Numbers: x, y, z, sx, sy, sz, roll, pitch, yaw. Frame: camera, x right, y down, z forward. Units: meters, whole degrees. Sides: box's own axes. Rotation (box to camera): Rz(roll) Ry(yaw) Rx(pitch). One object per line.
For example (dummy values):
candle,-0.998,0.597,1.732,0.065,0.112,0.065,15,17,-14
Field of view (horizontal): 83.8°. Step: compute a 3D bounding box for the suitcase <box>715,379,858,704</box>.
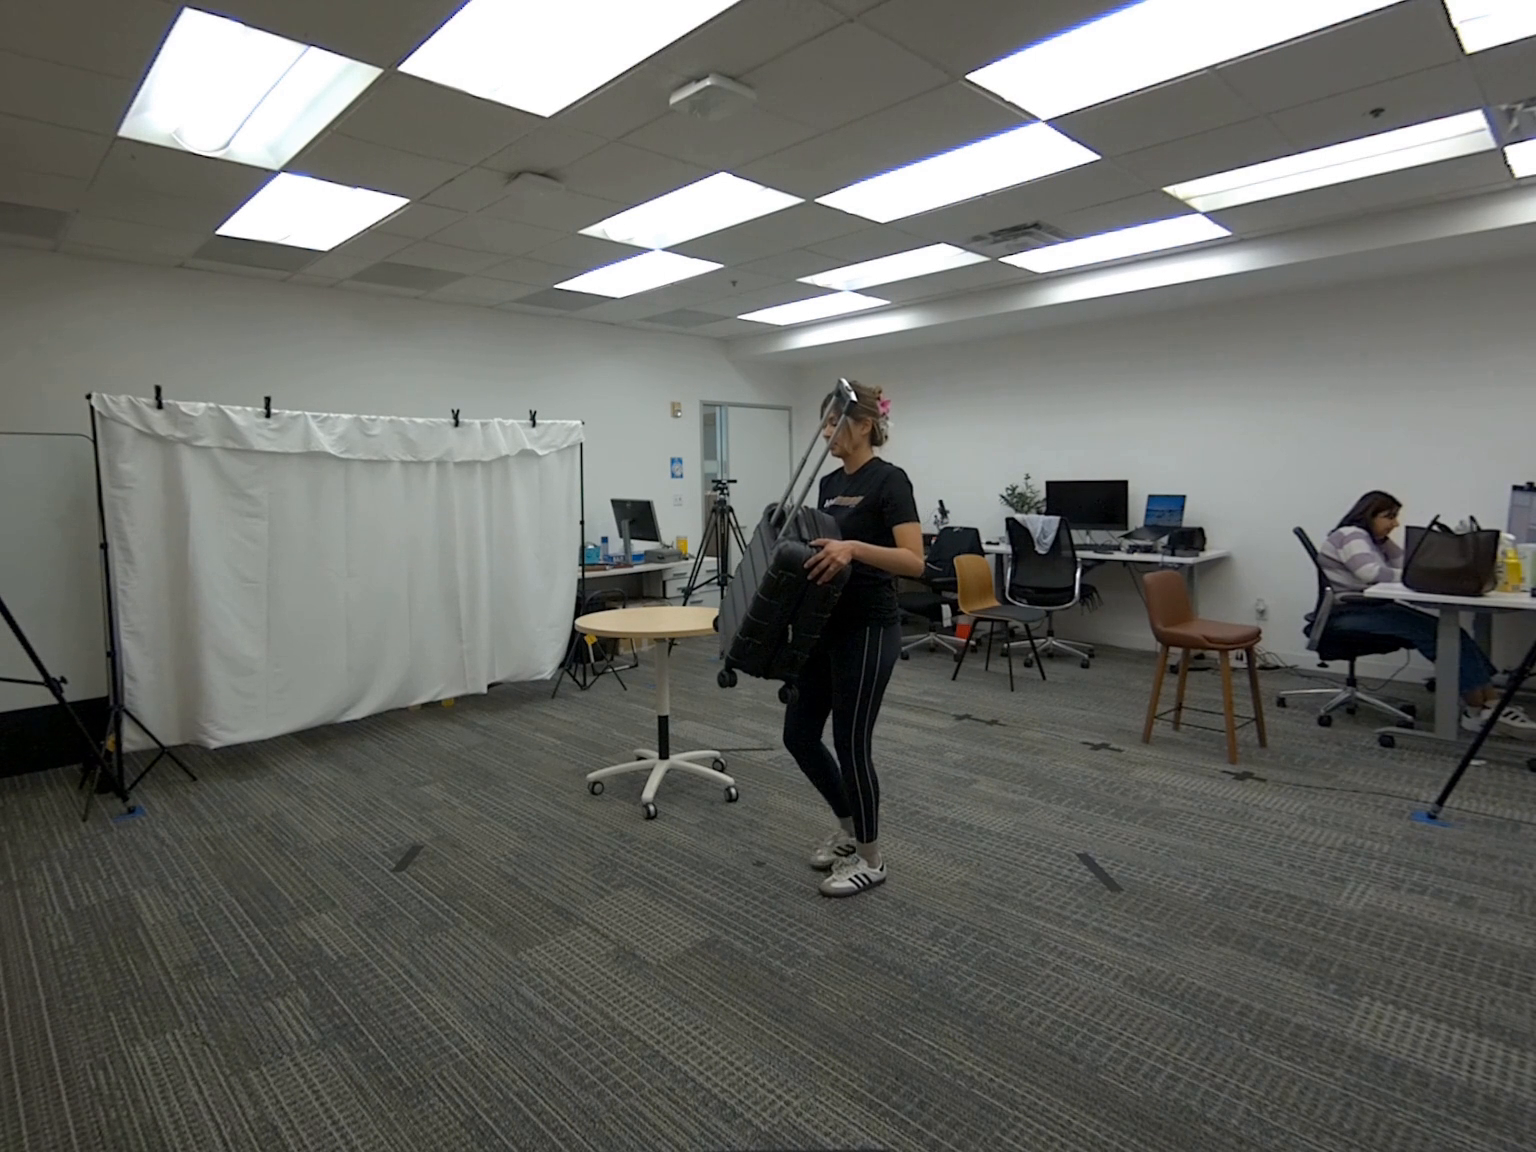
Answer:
suitcase,0.120,-0.113,2.634,0.252,0.970,0.394,19,27,-16
